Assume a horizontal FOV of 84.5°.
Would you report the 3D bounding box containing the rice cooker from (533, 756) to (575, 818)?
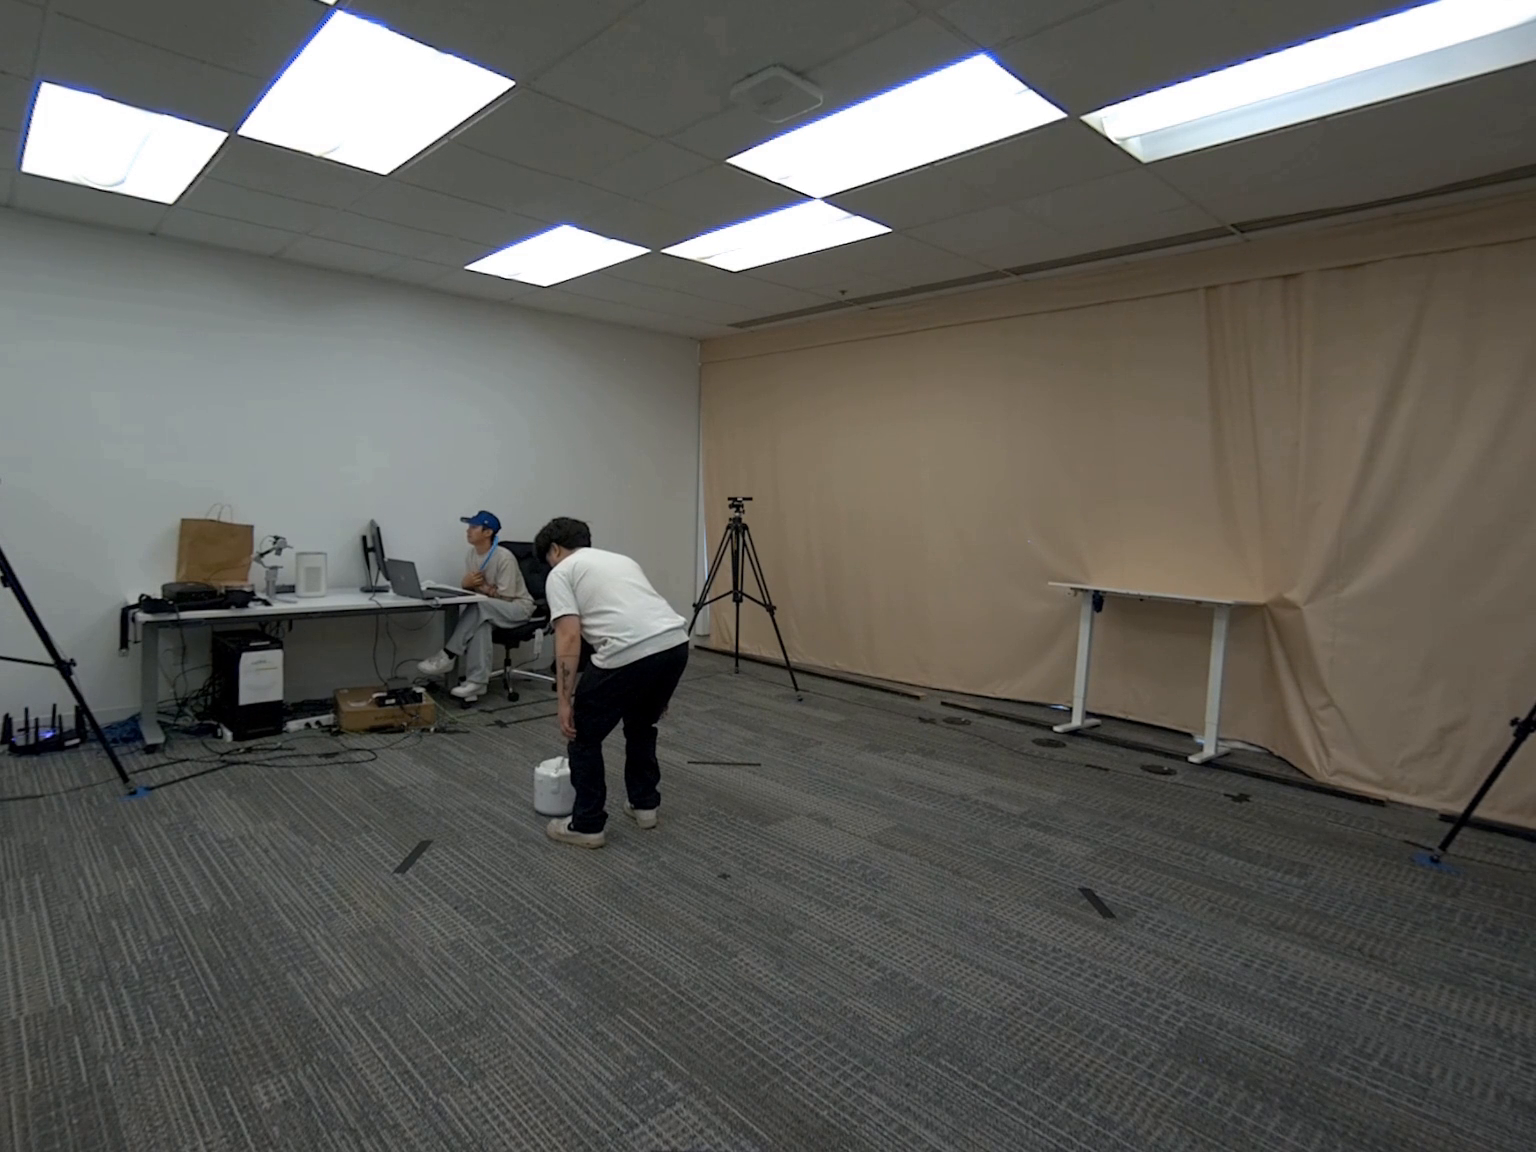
[{"bbox_3d":[-0.928,0.913,3.718,0.217,0.232,0.221,0,4,-2],"label":"rice cooker"}]
